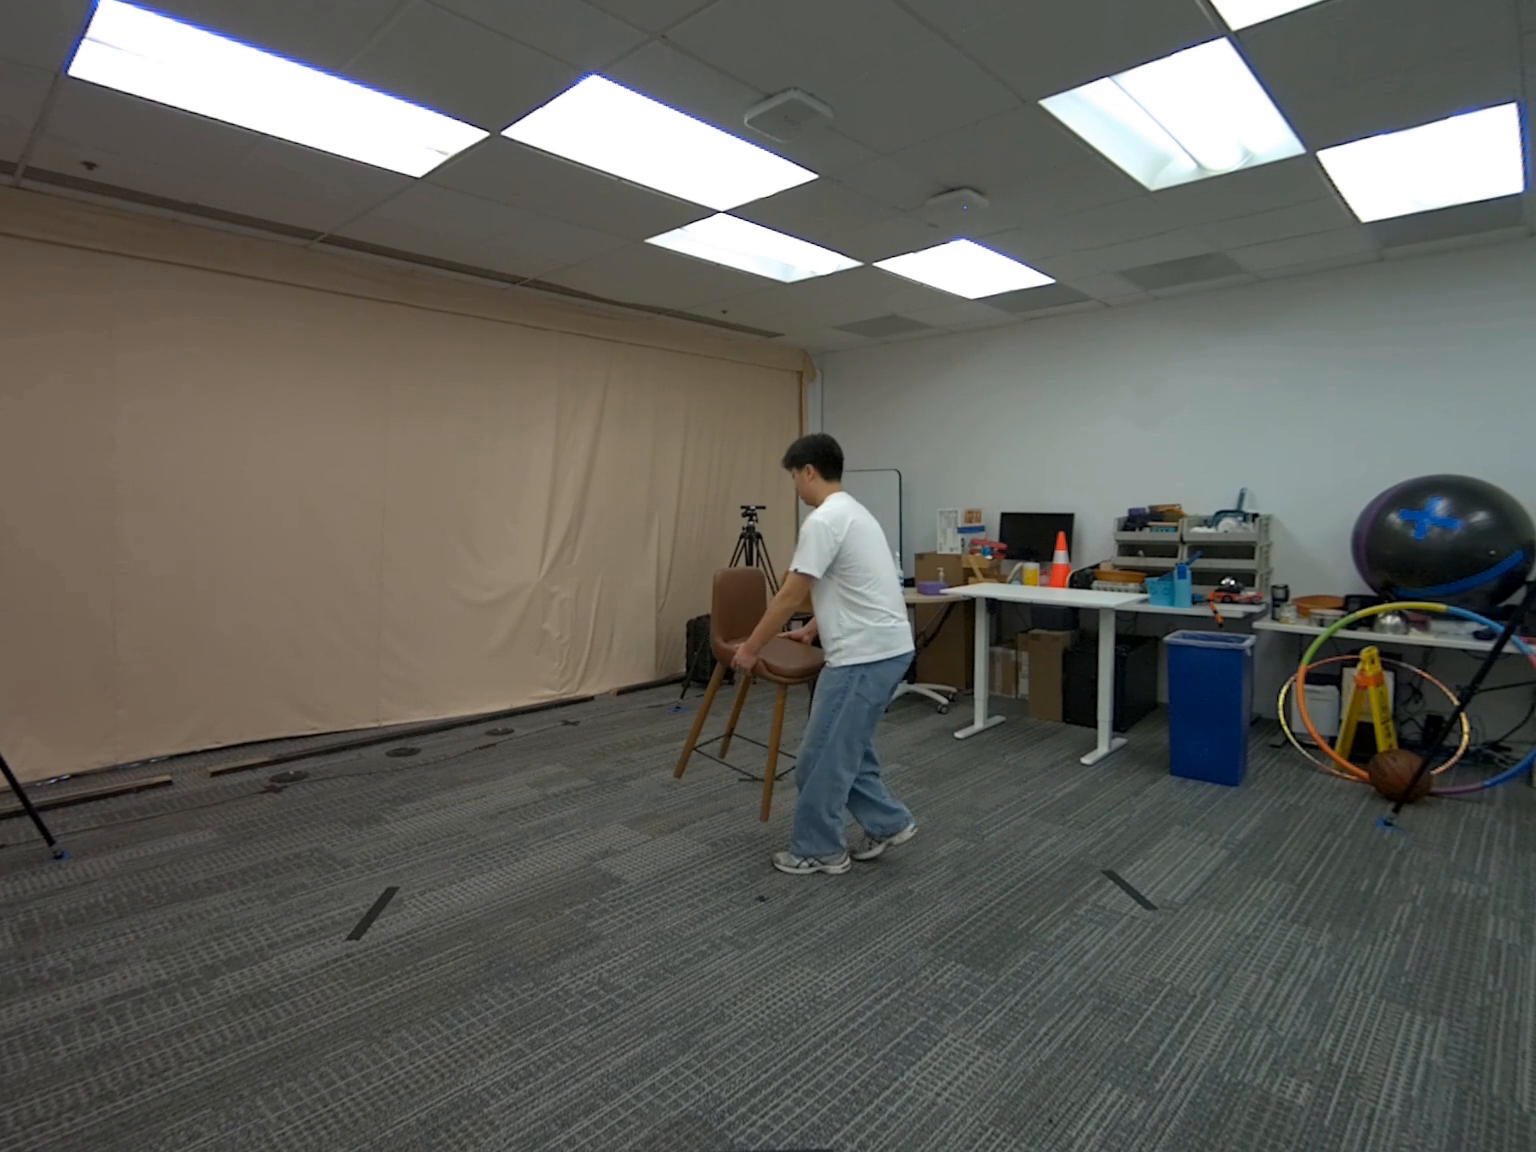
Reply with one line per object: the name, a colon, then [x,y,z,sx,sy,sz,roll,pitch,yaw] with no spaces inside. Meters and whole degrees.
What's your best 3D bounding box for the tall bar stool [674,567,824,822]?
tall bar stool: [-0.013,0.454,3.416,0.482,0.887,0.444,14,9,29]
